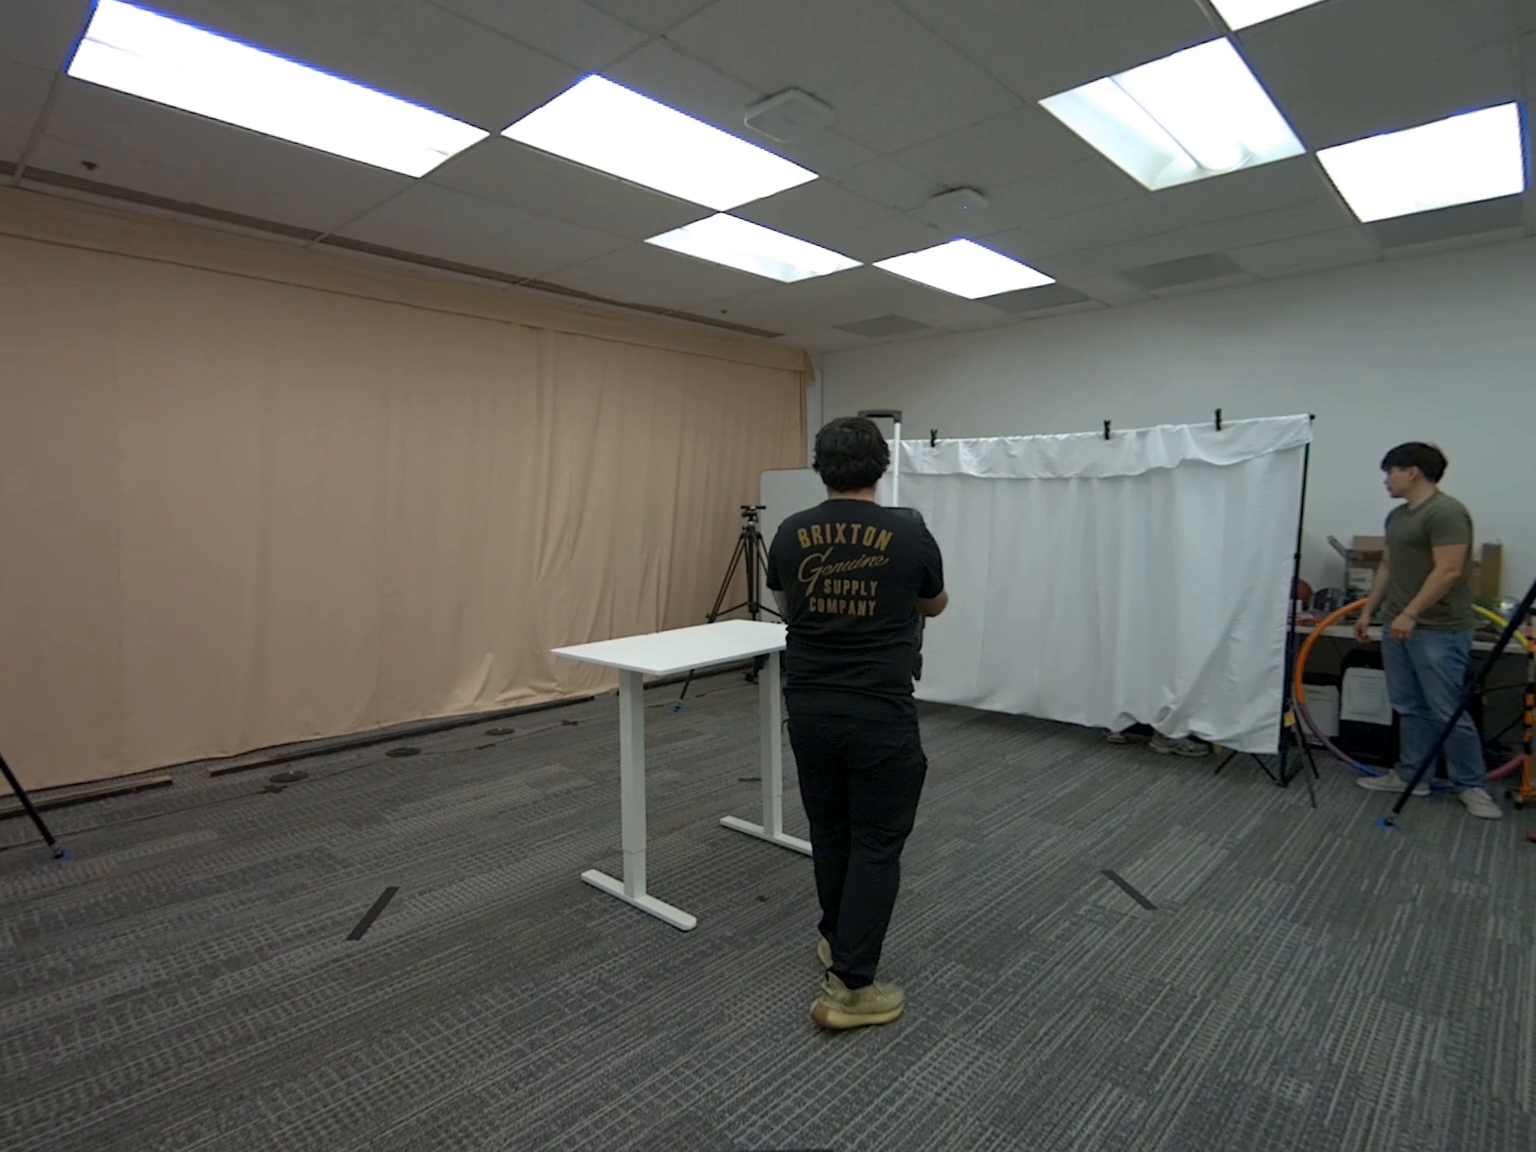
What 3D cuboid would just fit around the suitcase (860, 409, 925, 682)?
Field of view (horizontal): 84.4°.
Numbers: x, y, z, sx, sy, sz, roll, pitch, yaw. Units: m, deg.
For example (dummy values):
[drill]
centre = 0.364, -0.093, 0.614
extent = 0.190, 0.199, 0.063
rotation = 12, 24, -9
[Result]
[suitcase]
centre = 0.364, -0.160, 2.864
extent = 0.390, 0.986, 0.251
rotation = 0, -15, 14
